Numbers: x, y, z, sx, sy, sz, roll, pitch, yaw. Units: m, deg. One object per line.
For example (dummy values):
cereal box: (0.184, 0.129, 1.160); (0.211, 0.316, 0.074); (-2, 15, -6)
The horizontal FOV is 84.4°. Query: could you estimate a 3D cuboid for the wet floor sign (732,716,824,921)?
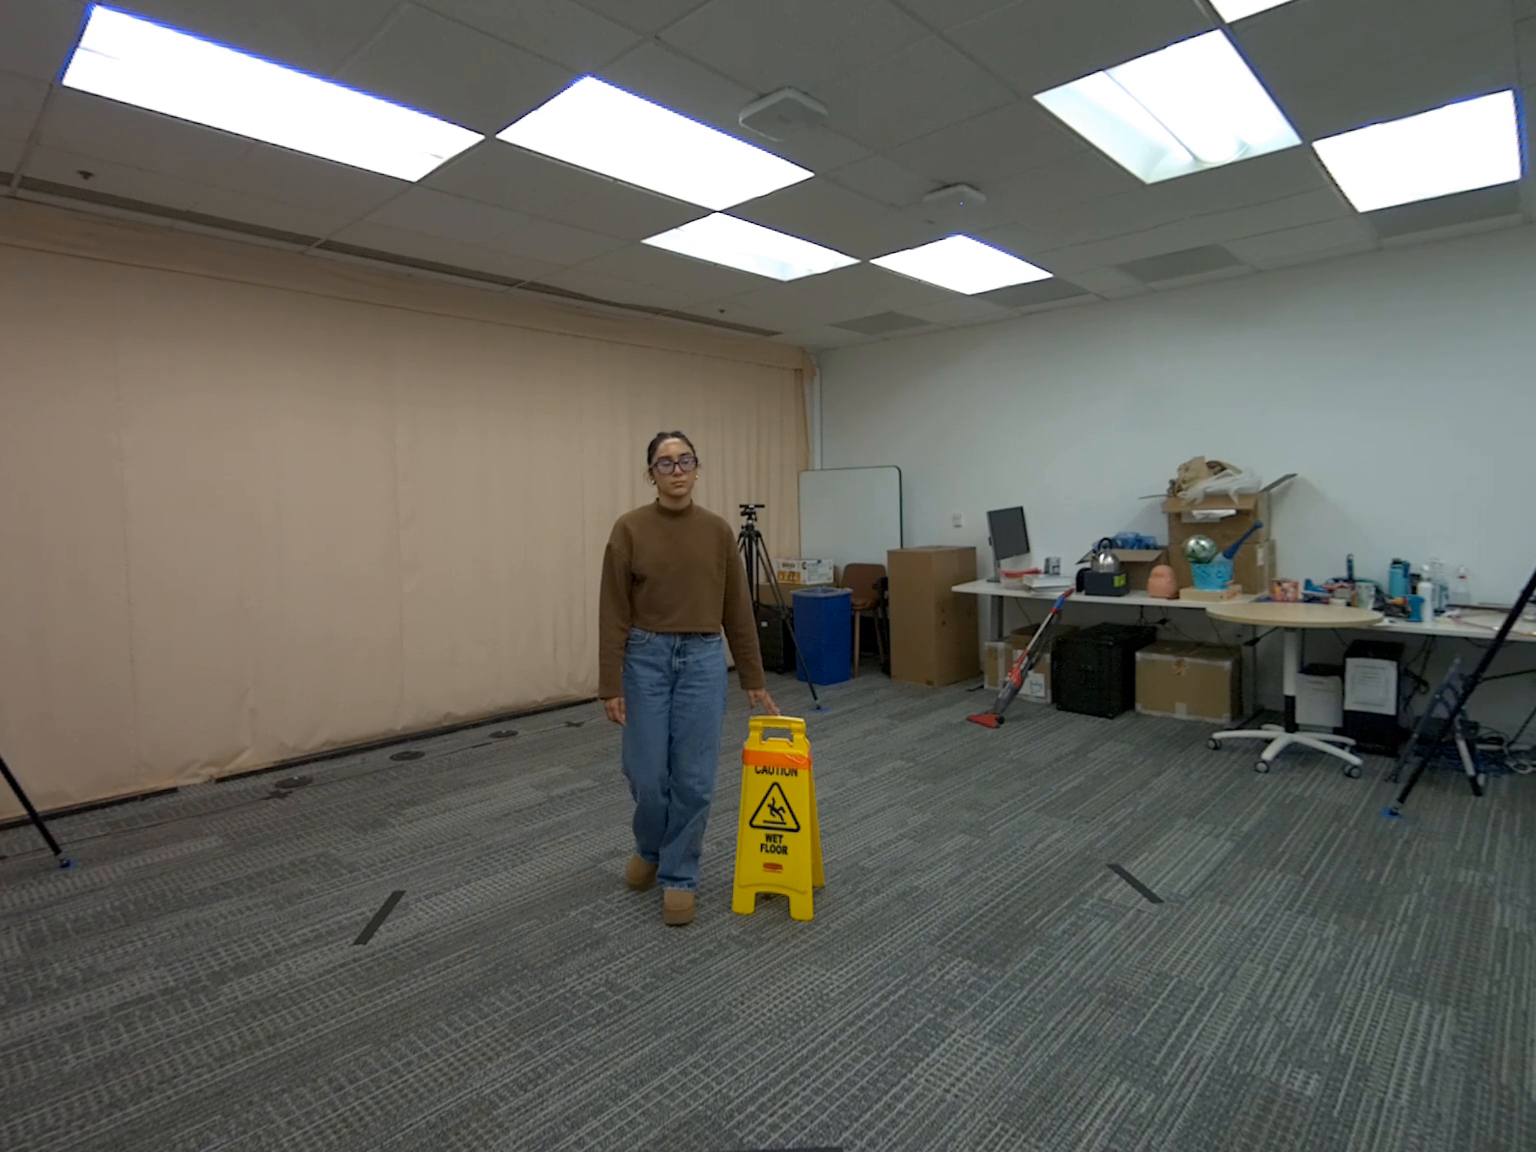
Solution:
wet floor sign: (0.039, 0.818, 2.958); (0.287, 0.645, 0.286); (0, 3, 14)
